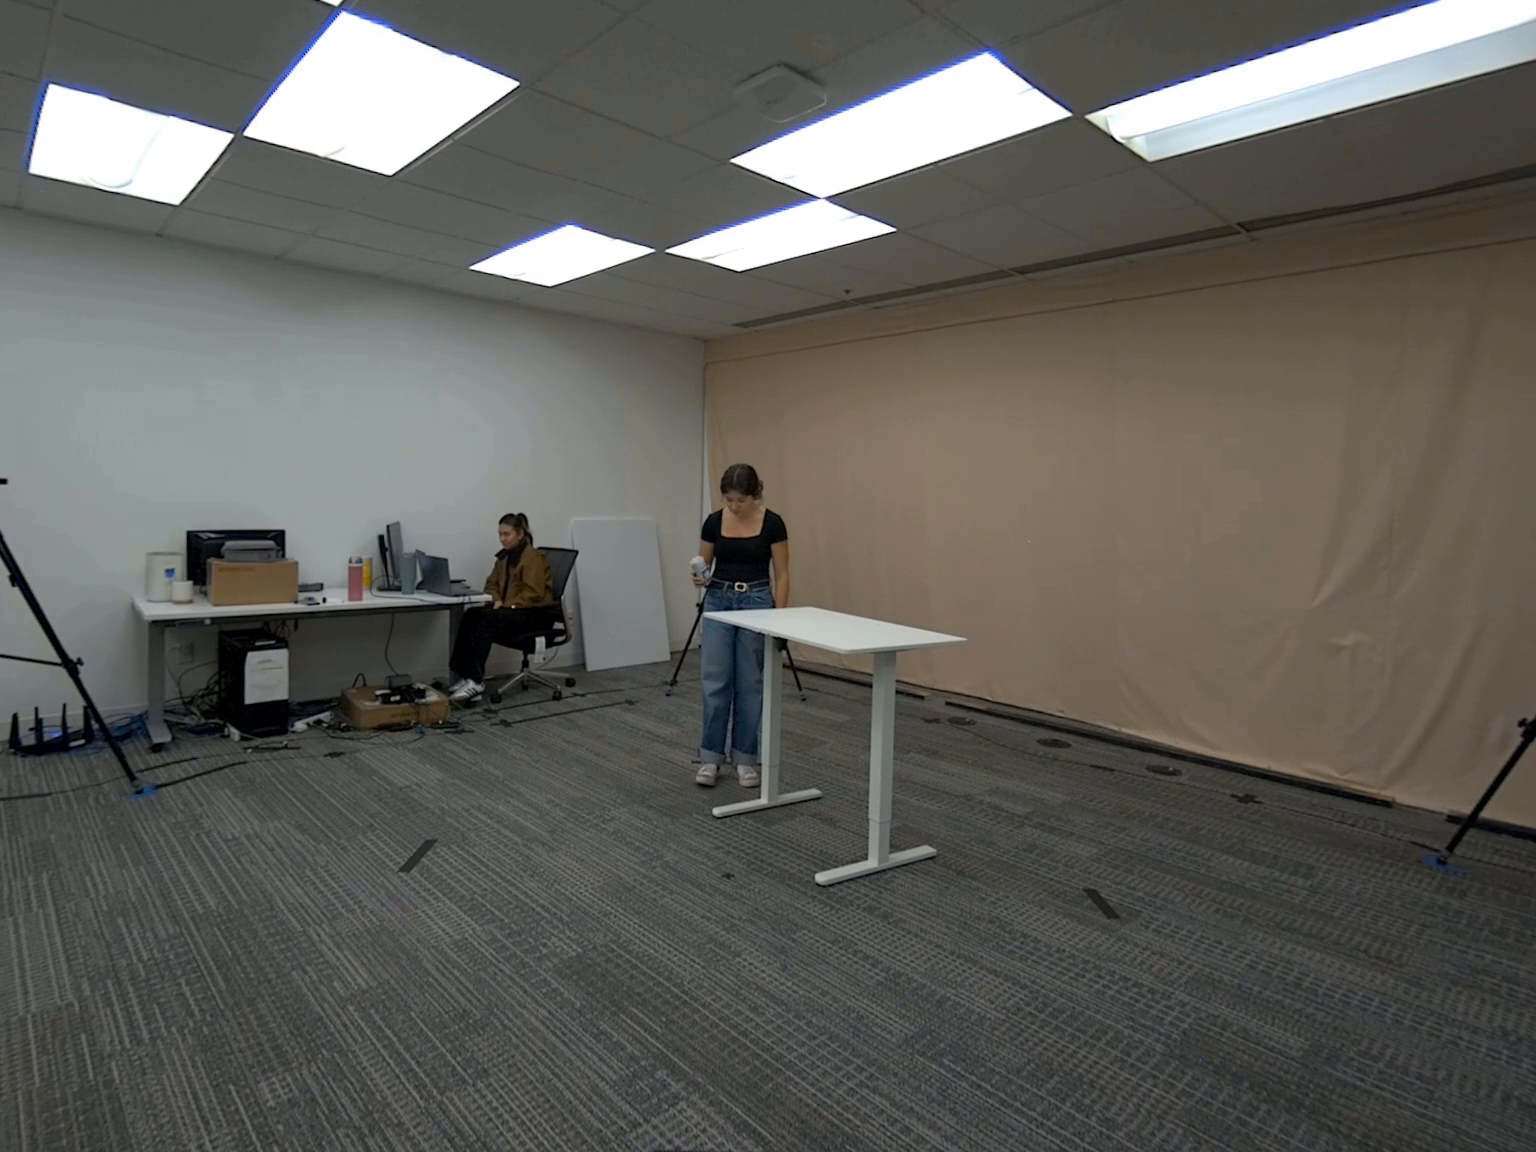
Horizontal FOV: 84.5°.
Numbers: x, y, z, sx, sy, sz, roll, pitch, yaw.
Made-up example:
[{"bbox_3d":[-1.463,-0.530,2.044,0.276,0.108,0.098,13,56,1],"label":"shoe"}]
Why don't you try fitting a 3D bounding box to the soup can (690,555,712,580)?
[{"bbox_3d":[-0.334,-0.026,3.936,0.067,0.119,0.068,-21,19,6],"label":"soup can"}]
